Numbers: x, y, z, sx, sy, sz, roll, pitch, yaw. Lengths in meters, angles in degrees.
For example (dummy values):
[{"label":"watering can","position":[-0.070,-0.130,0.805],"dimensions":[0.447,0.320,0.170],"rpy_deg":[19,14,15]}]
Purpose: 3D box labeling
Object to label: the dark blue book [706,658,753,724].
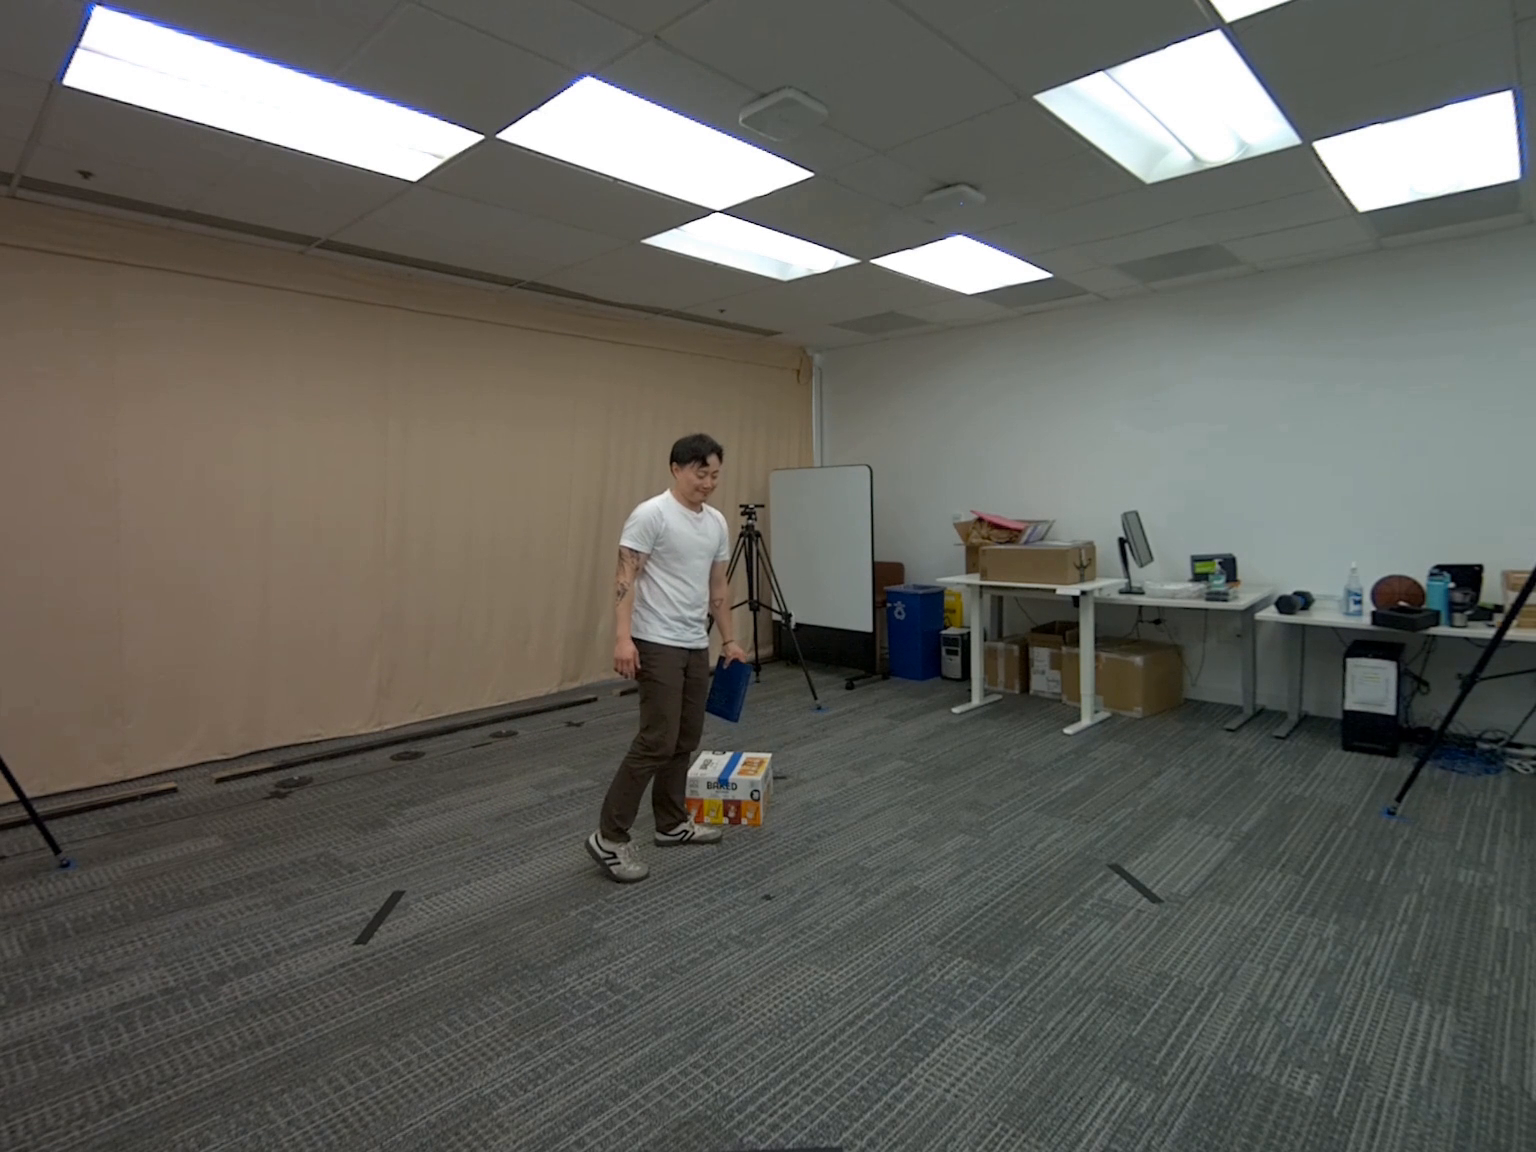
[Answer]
[{"label":"dark blue book","position":[-0.159,0.472,3.511],"dimensions":[0.169,0.245,0.043],"rpy_deg":[12,-4,41]}]
